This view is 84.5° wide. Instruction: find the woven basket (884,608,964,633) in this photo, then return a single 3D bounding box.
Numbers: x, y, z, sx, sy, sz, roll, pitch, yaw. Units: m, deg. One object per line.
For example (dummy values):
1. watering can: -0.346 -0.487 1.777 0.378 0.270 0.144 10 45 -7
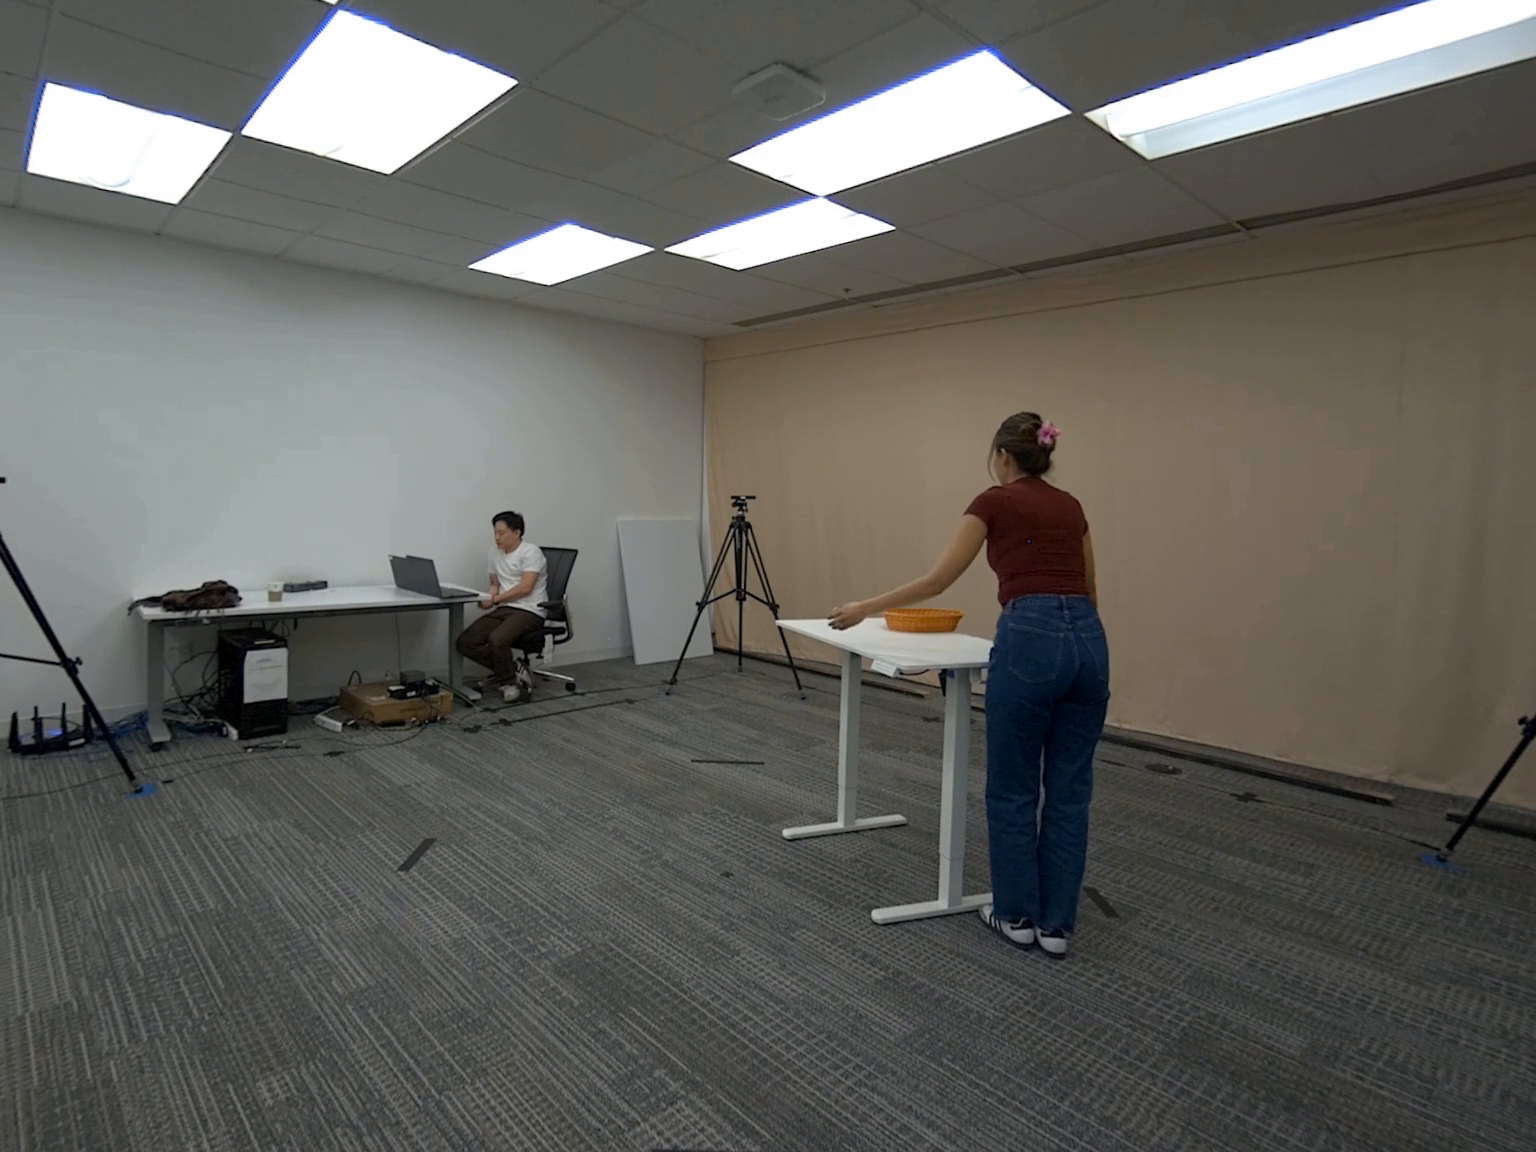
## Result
1. woven basket: 0.625 0.185 3.415 0.346 0.073 0.256 0 4 -17
